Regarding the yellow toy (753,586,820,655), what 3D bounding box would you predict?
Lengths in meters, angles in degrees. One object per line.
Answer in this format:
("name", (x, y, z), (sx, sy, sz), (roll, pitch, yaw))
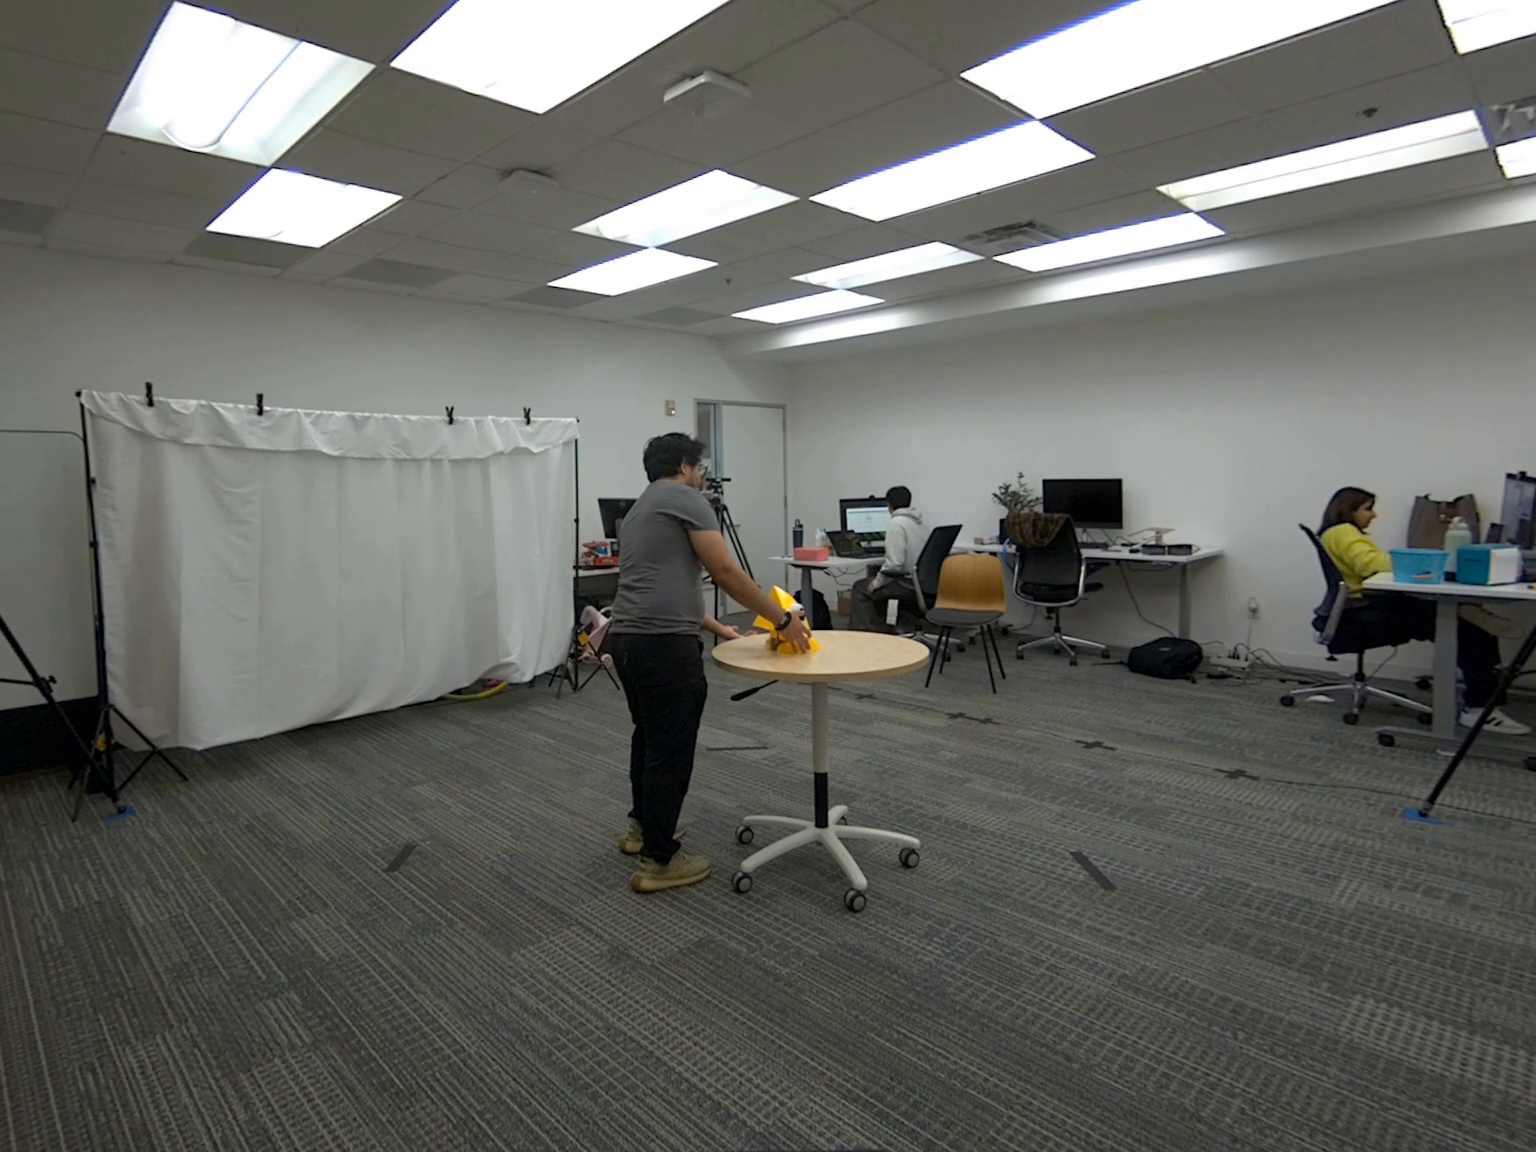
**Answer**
("yellow toy", (0.073, 0.147, 3.082), (0.188, 0.230, 0.210), (-4, 5, -30))
